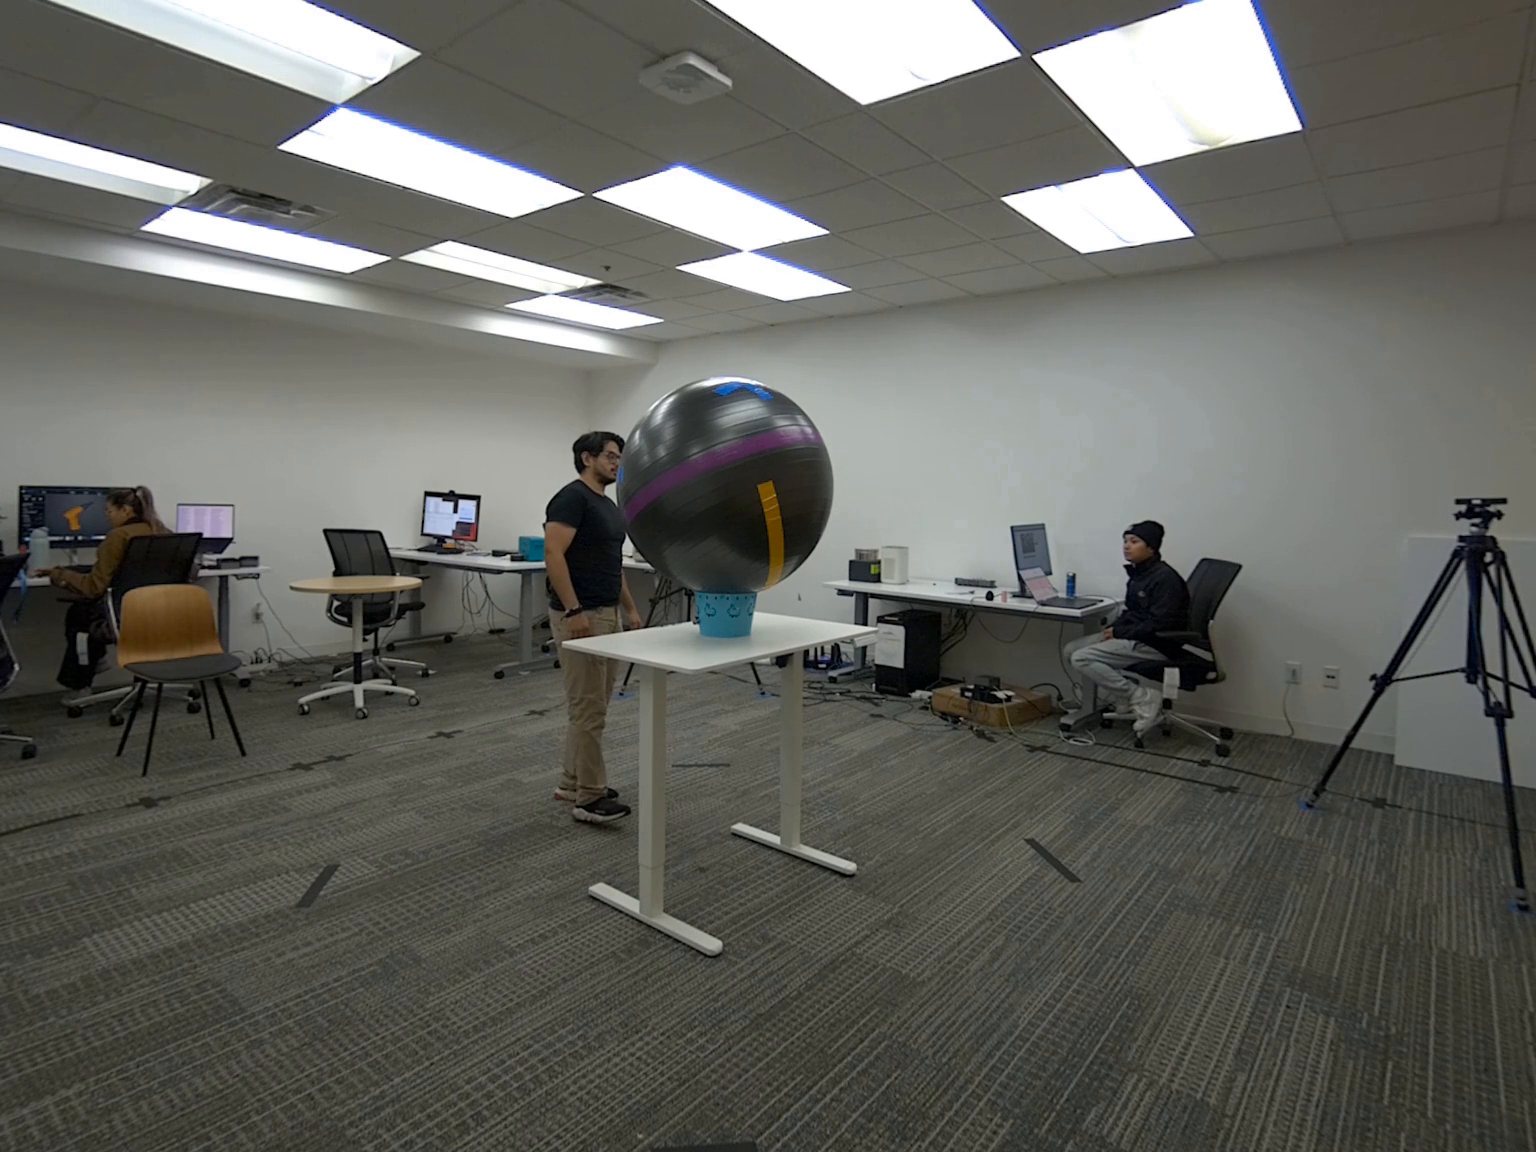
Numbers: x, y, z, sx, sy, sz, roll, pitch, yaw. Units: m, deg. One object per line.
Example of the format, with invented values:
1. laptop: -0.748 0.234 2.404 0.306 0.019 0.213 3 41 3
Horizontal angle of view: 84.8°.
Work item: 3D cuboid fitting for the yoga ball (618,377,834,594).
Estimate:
1. yoga ball: -0.166 -0.308 2.974 0.757 0.755 0.762 1 4 -2
